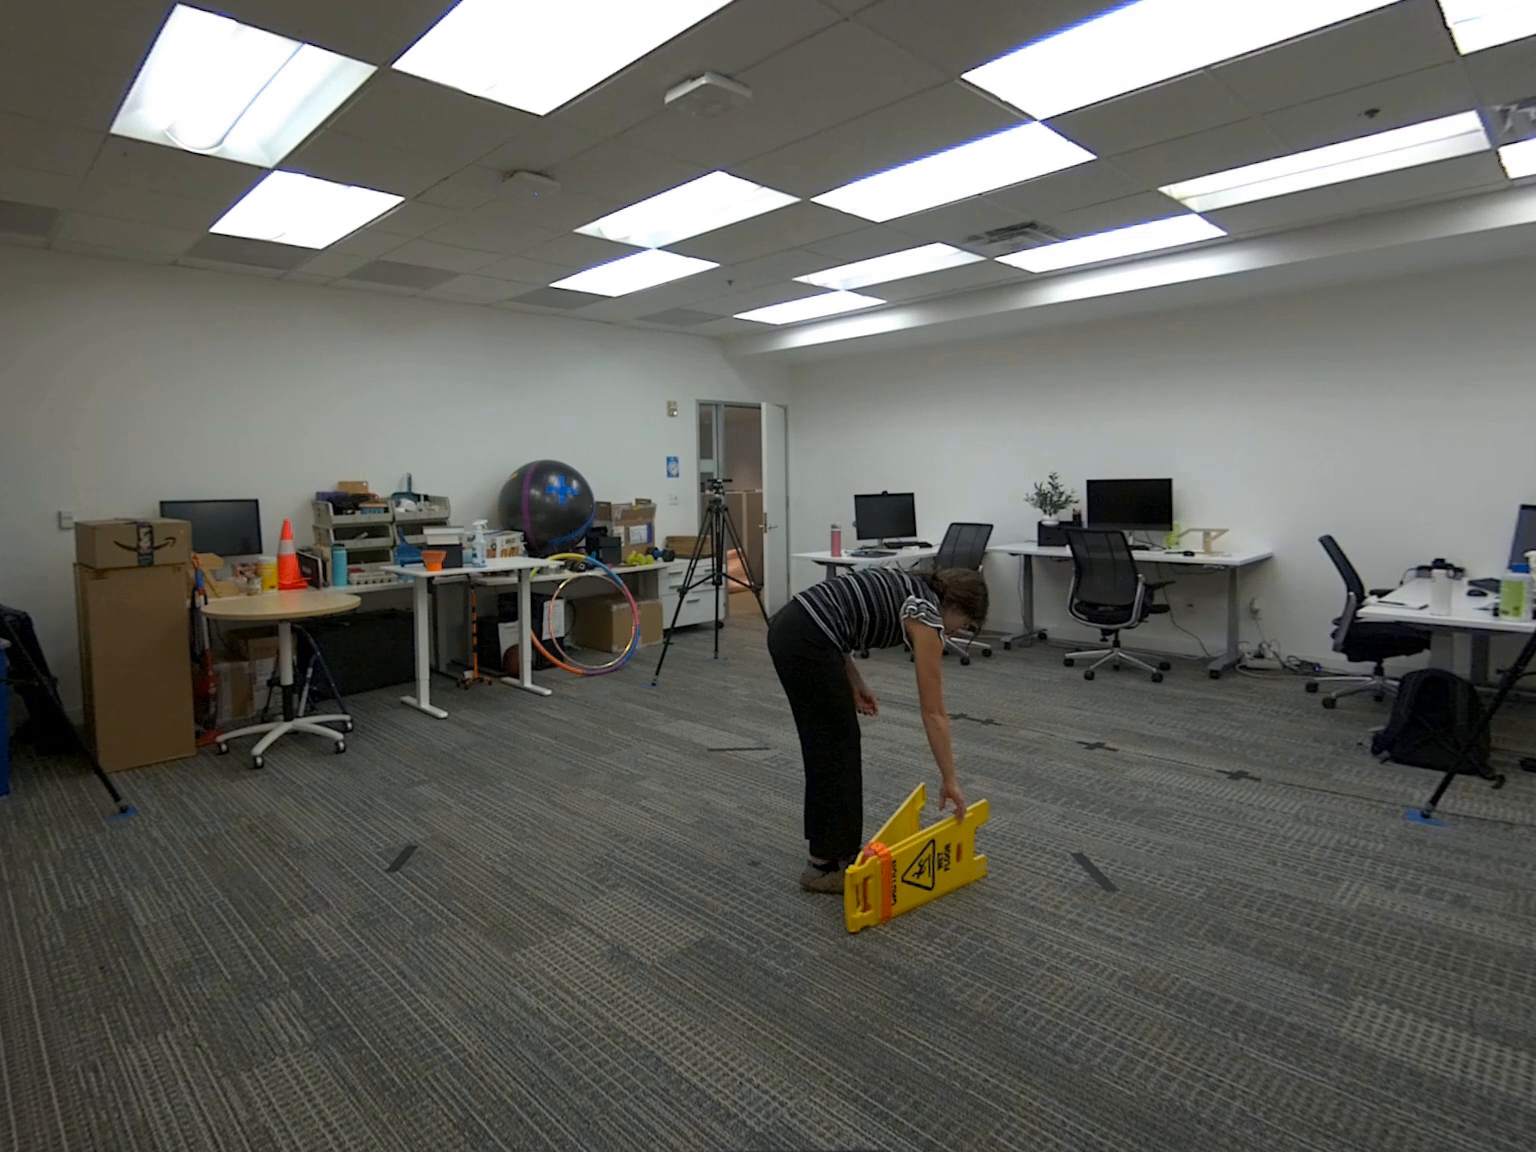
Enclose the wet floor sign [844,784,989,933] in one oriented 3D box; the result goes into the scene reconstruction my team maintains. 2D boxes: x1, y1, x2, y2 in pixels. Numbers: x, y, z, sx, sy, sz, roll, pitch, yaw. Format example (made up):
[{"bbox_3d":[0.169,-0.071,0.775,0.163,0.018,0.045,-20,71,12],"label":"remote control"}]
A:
[{"bbox_3d":[0.461,0.945,2.821,0.299,0.280,0.631,5,11,41],"label":"wet floor sign"}]
